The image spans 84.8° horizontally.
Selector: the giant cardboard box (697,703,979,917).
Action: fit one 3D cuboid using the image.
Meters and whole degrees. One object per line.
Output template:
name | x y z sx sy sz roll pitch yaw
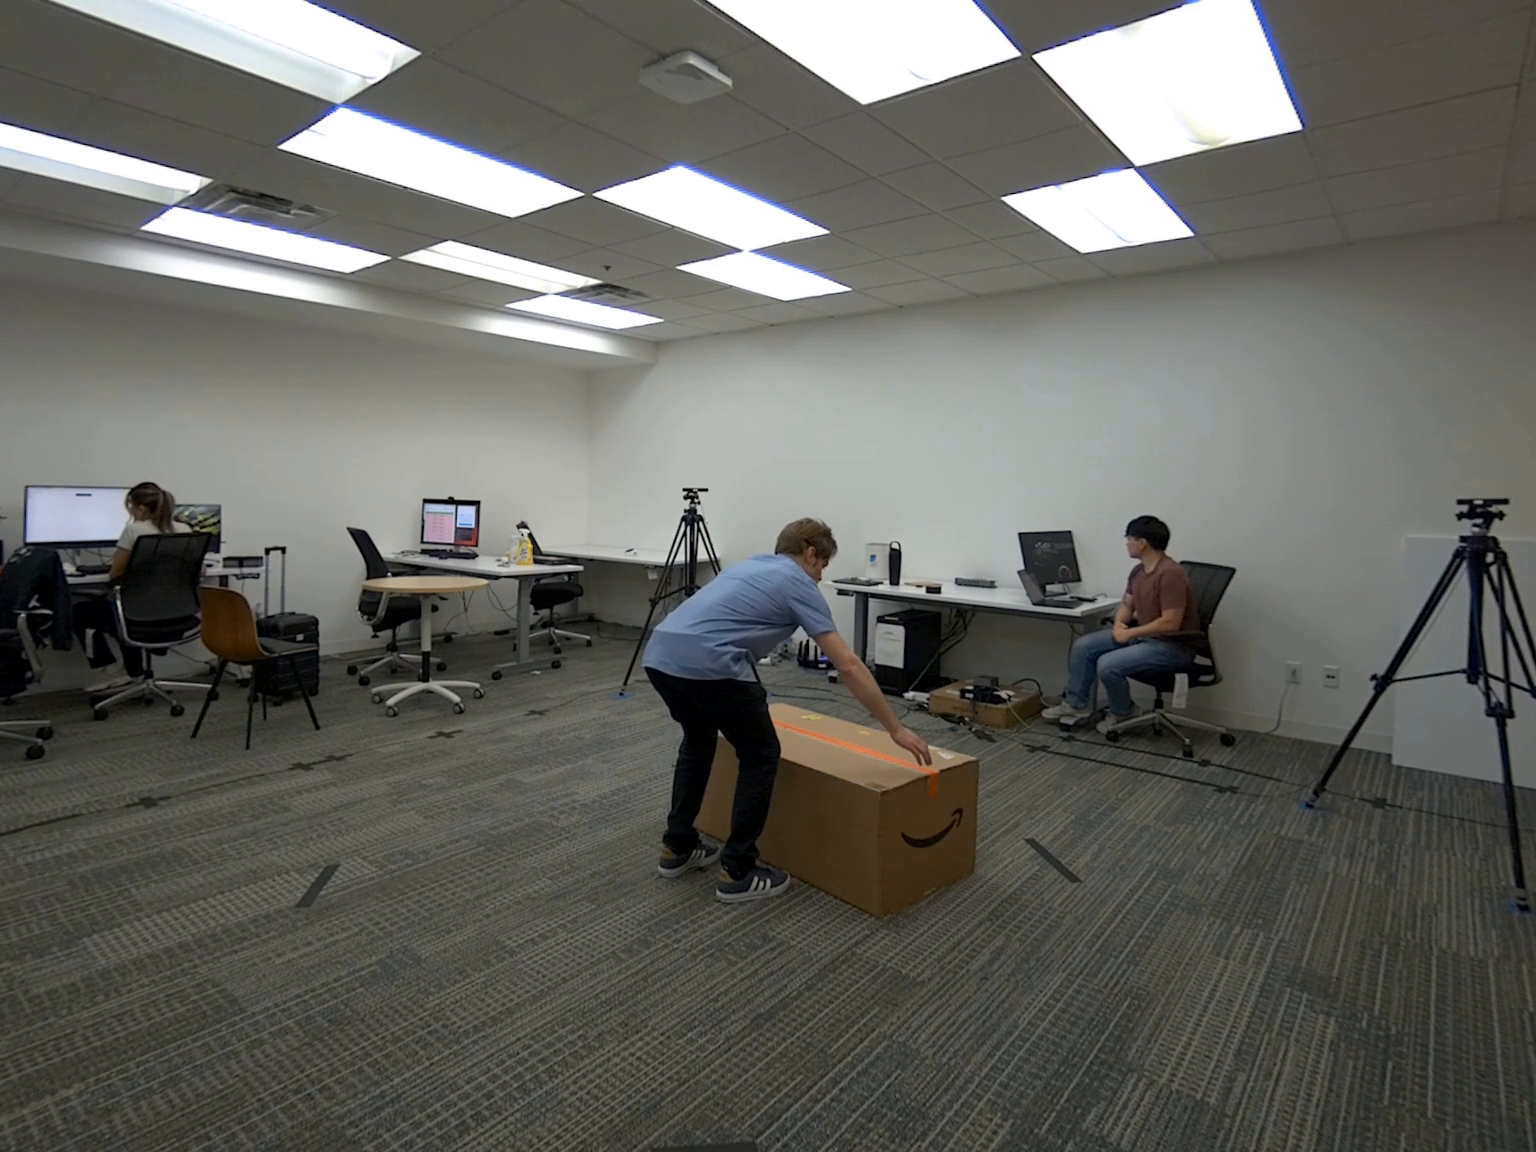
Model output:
giant cardboard box | 0.204 0.843 3.329 0.567 0.445 1.063 -4 8 -43
